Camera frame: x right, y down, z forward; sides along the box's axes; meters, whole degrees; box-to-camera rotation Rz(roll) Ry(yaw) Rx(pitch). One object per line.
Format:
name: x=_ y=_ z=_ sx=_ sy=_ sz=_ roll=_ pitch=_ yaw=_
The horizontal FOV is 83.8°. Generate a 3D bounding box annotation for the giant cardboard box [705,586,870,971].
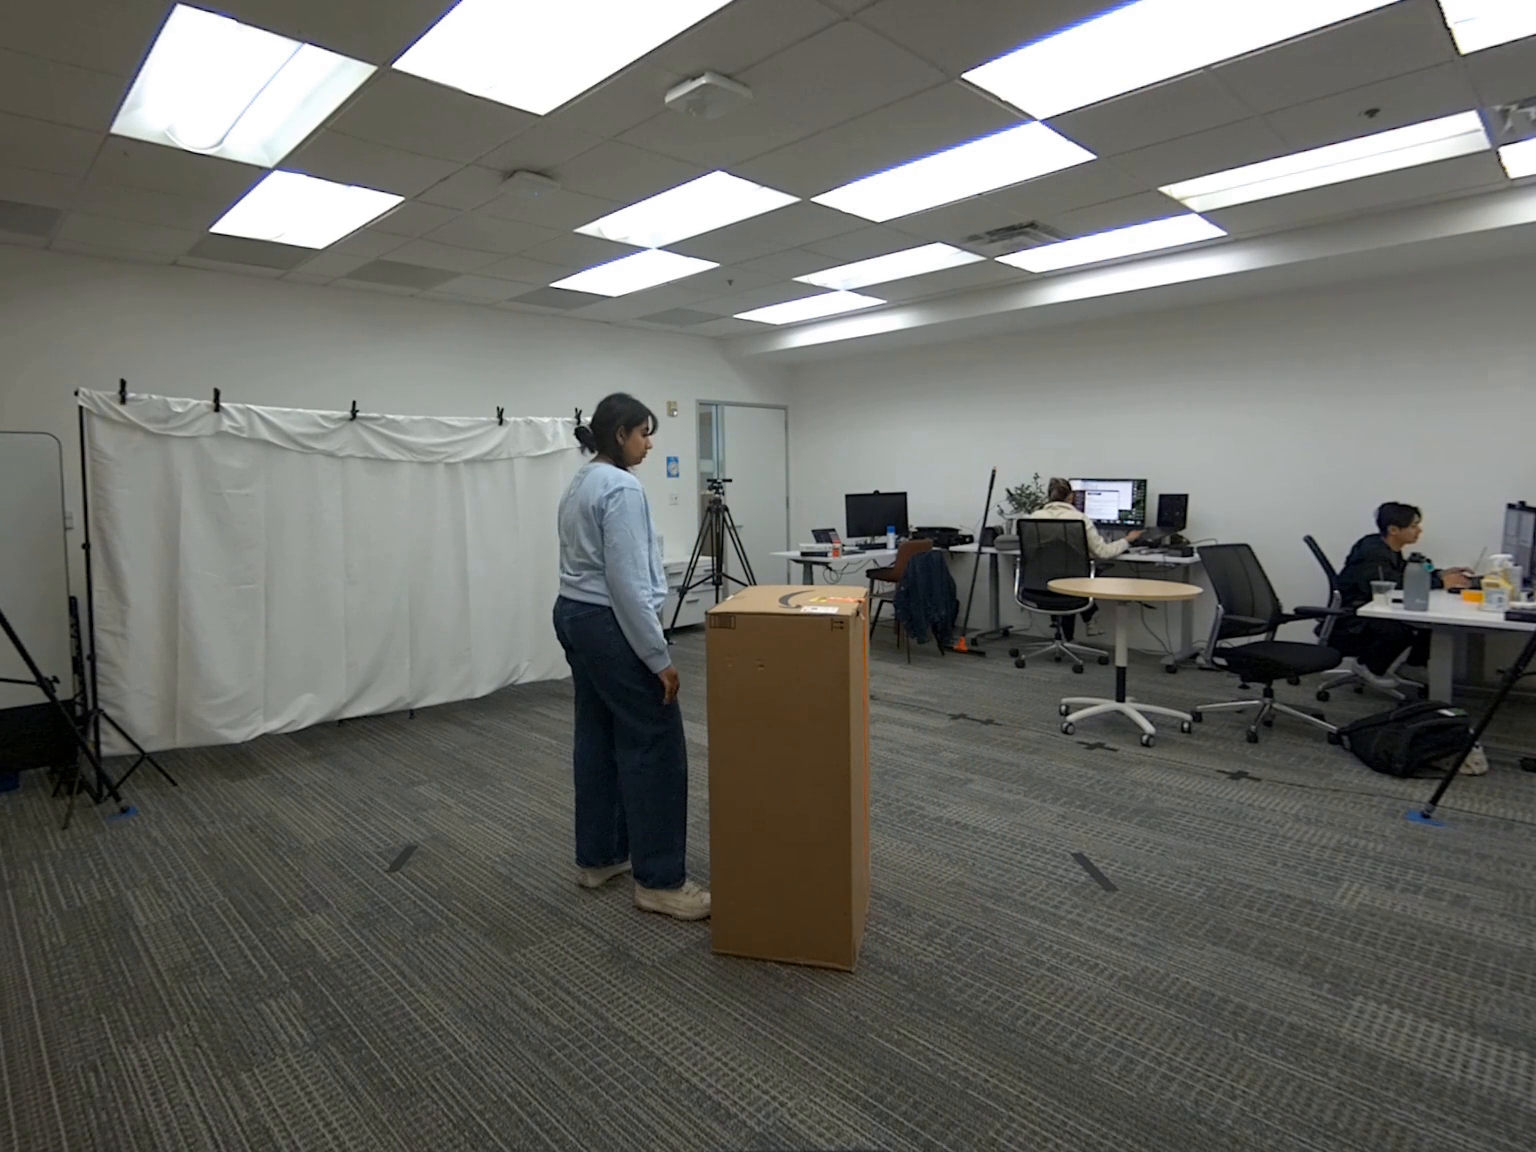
giant cardboard box: x=0.091 y=0.579 z=2.707 sx=0.432 sy=1.022 sz=0.572 roll=0 pitch=4 yaw=13
